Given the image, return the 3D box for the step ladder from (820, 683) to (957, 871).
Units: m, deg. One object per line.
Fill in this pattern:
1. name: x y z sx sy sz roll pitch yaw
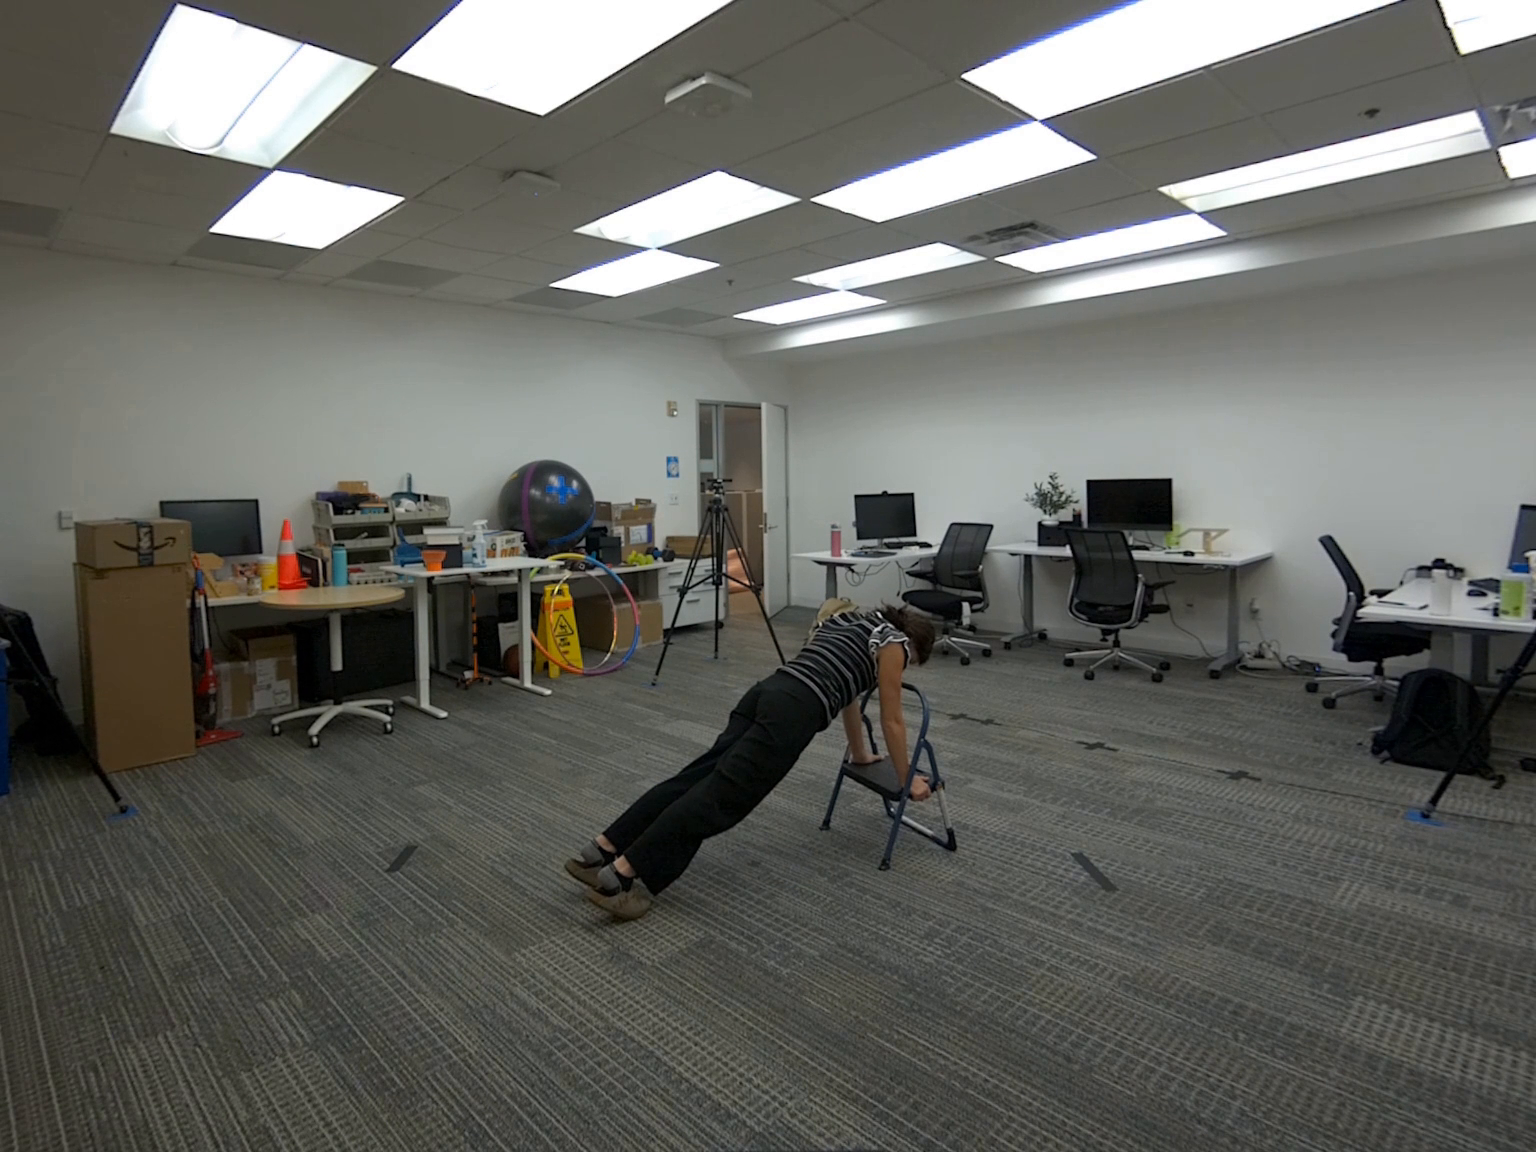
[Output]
1. step ladder: 0.457 0.716 3.279 0.341 0.604 0.442 -2 5 -28
